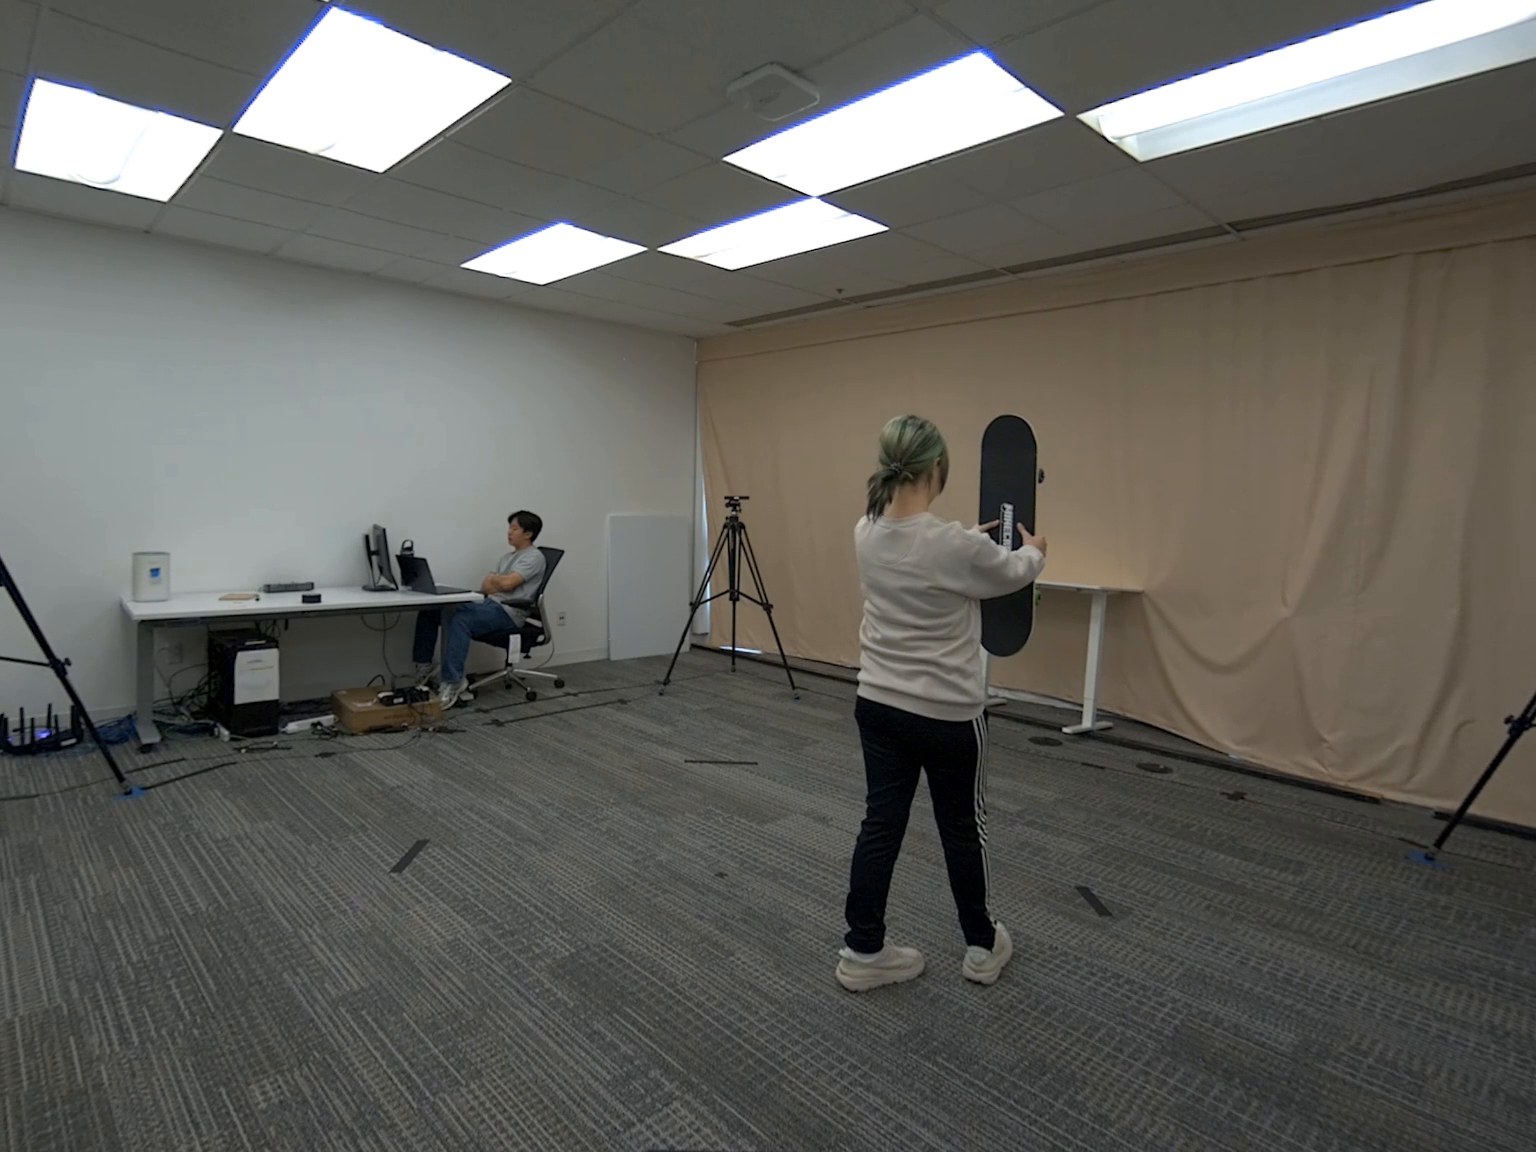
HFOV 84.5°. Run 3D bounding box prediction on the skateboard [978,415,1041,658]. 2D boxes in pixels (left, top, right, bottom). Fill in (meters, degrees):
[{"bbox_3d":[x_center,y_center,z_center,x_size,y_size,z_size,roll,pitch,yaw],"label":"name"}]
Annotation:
[{"bbox_3d":[0.790,-0.130,2.770,0.198,0.787,0.107,0,-4,40],"label":"skateboard"}]
